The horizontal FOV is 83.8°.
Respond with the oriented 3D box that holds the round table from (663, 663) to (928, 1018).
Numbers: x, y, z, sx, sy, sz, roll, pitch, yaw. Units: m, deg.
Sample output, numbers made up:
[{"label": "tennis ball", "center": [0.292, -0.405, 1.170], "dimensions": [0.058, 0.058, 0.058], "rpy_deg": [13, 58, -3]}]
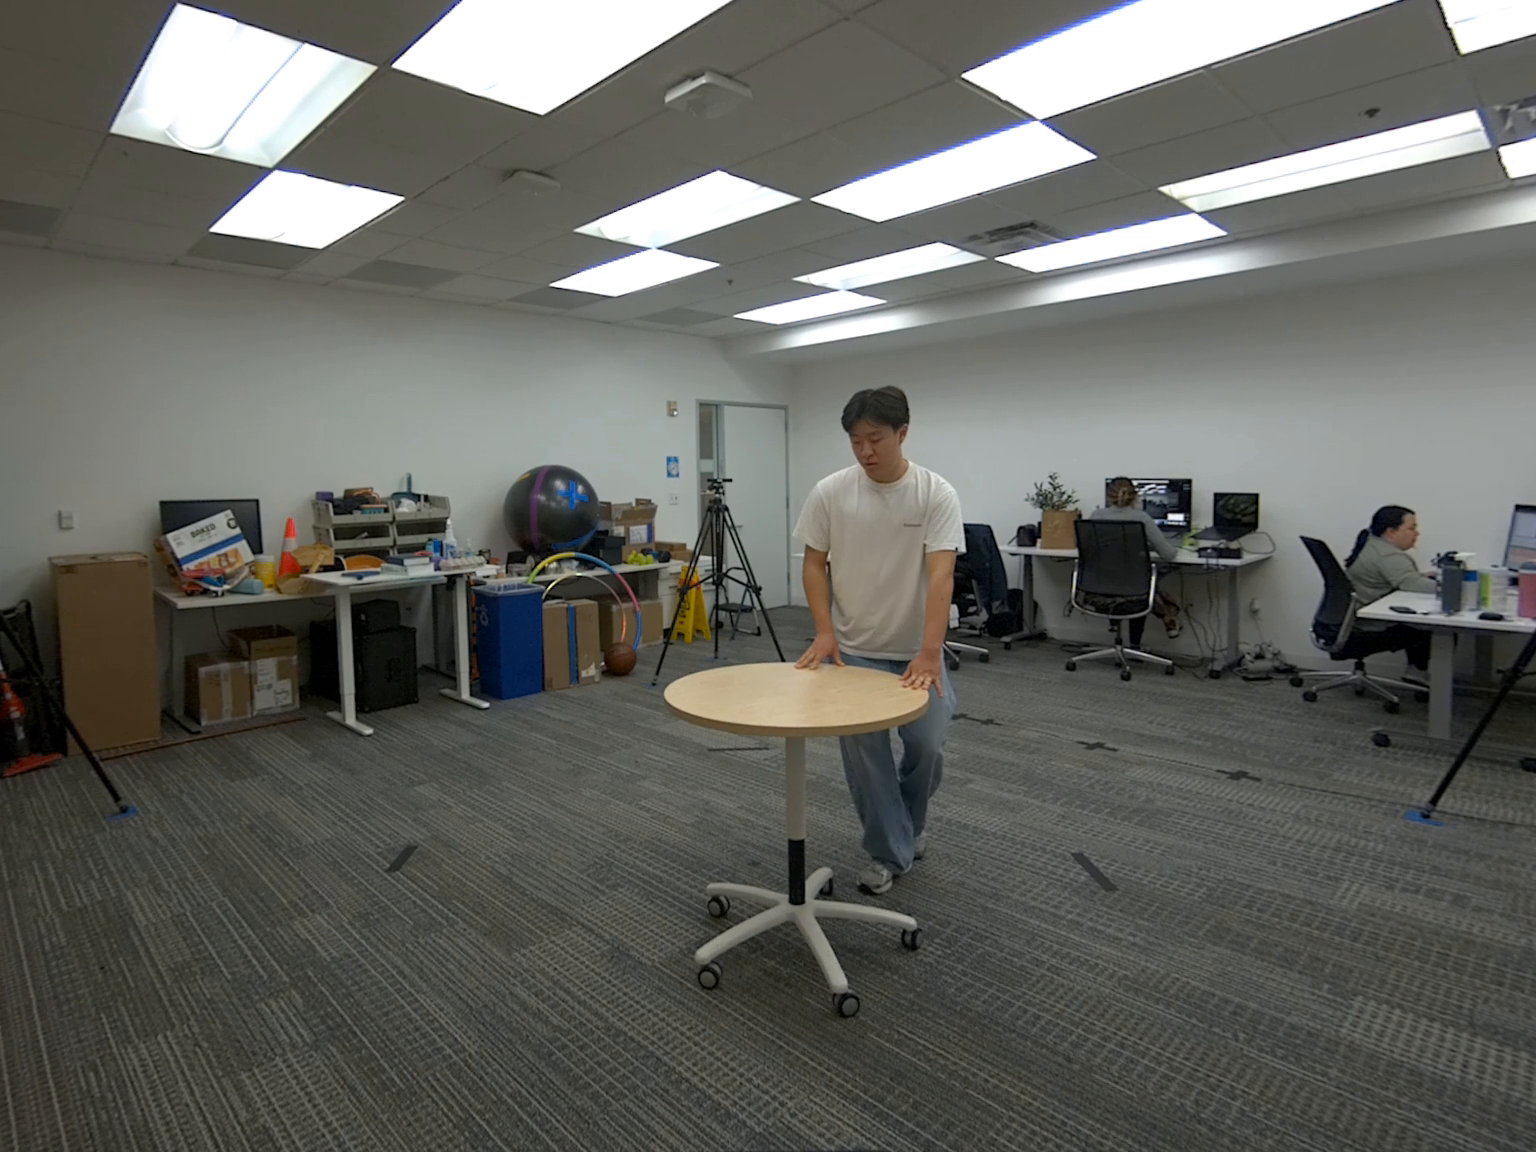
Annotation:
[{"label": "round table", "center": [0.085, 0.723, 2.532], "dimensions": [0.763, 0.791, 0.768], "rpy_deg": [-1, 5, -2]}]
